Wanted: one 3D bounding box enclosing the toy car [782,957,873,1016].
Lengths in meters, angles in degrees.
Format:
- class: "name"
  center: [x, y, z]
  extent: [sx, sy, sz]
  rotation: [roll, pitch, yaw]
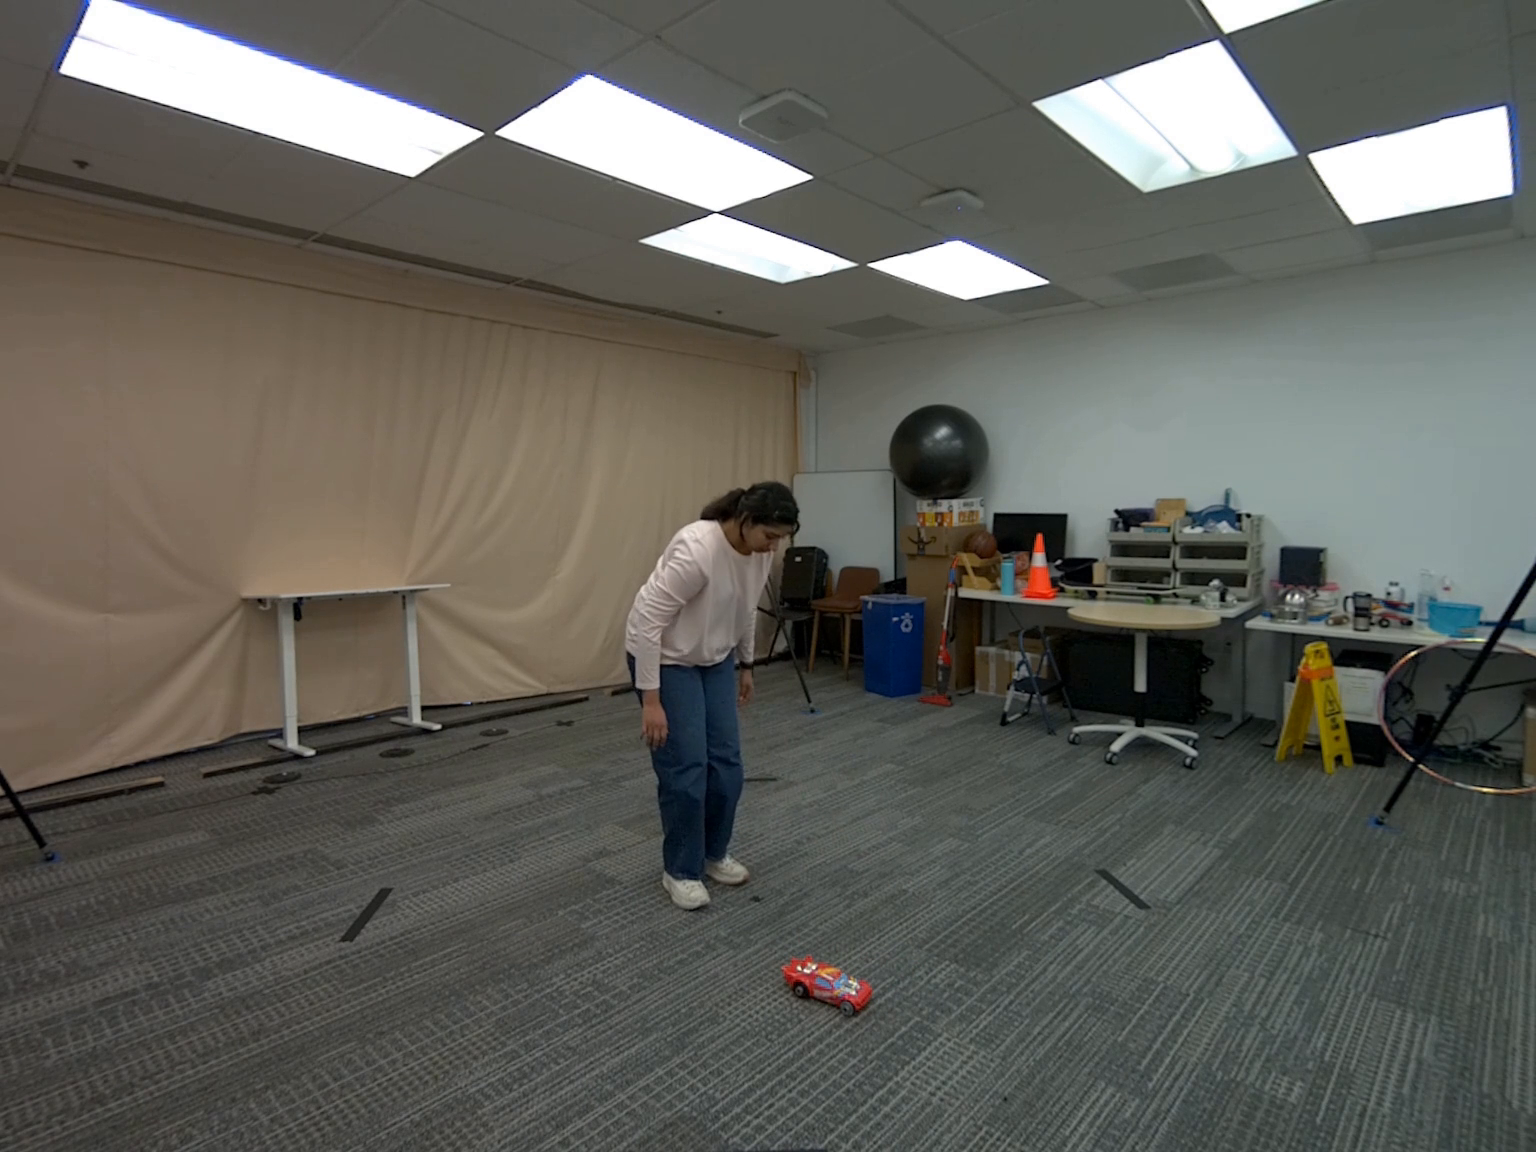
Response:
- class: "toy car"
  center: [0.167, 1.163, 2.389]
  extent: [0.263, 0.083, 0.126]
  rotation: [16, 12, 33]
